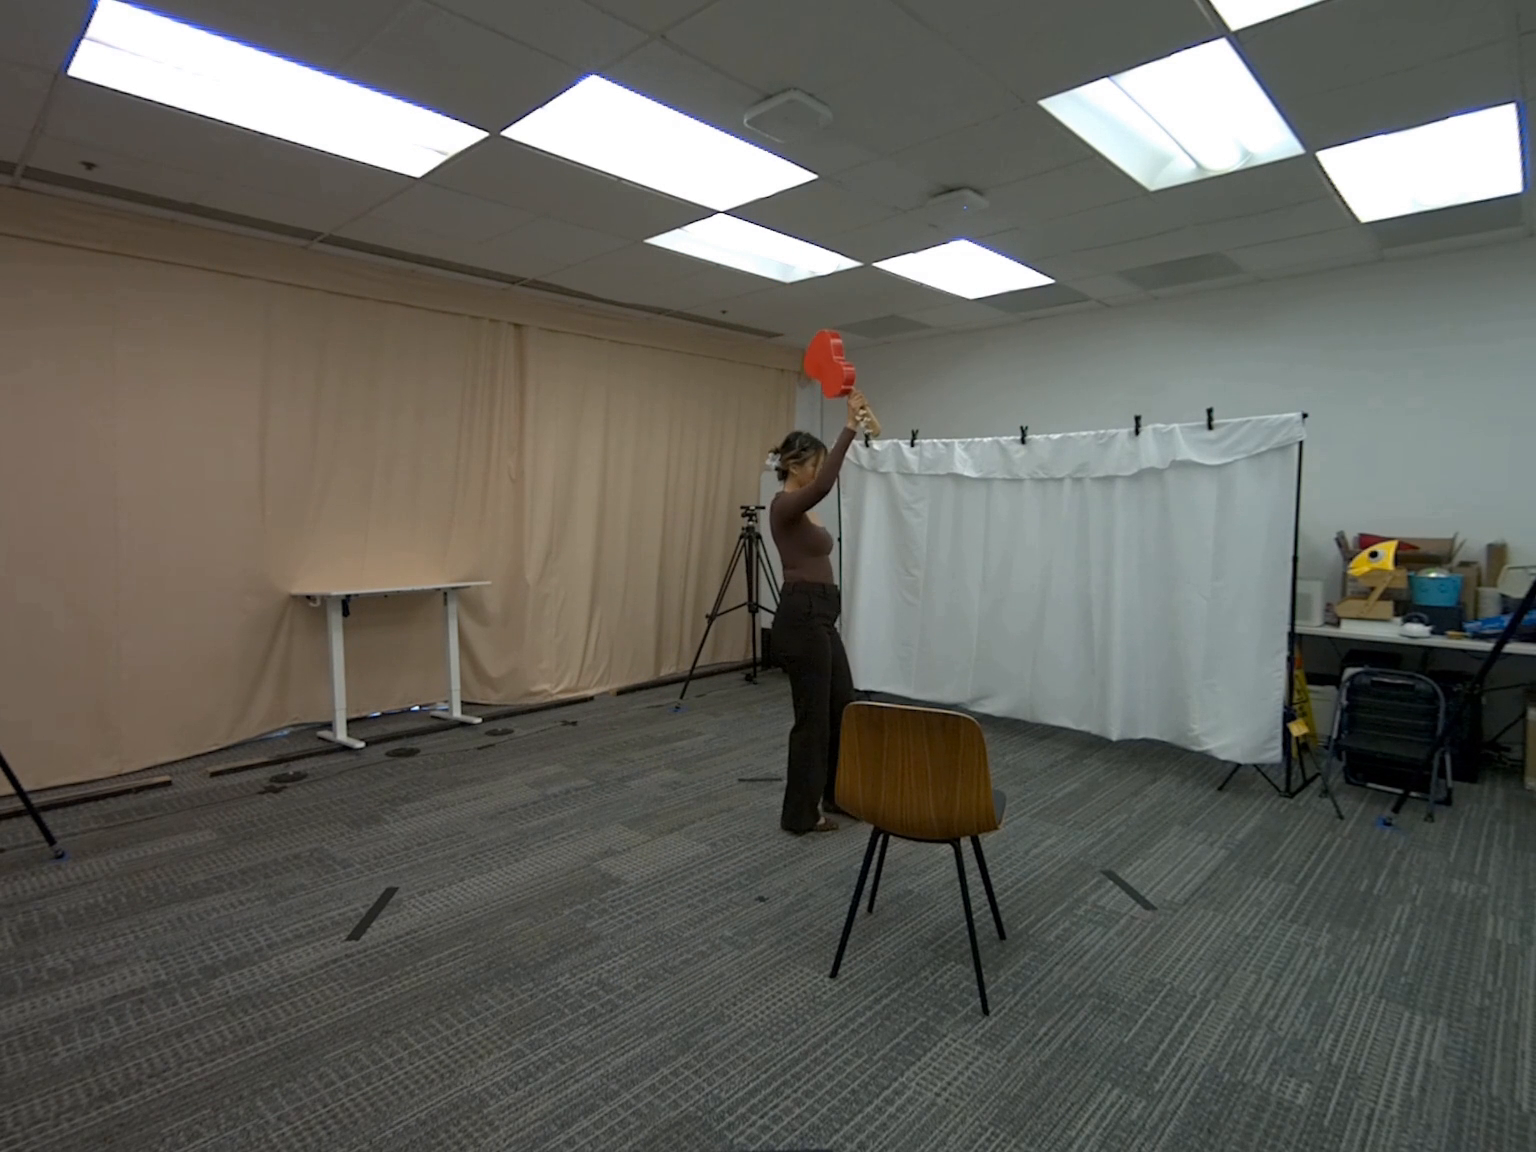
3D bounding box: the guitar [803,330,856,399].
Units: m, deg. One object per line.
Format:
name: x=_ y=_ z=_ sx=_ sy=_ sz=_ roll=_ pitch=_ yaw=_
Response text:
guitar: x=0.298 y=-0.739 z=3.196 sx=0.069 sy=0.192 sz=0.513 roll=-6 pitch=47 yaw=-30
